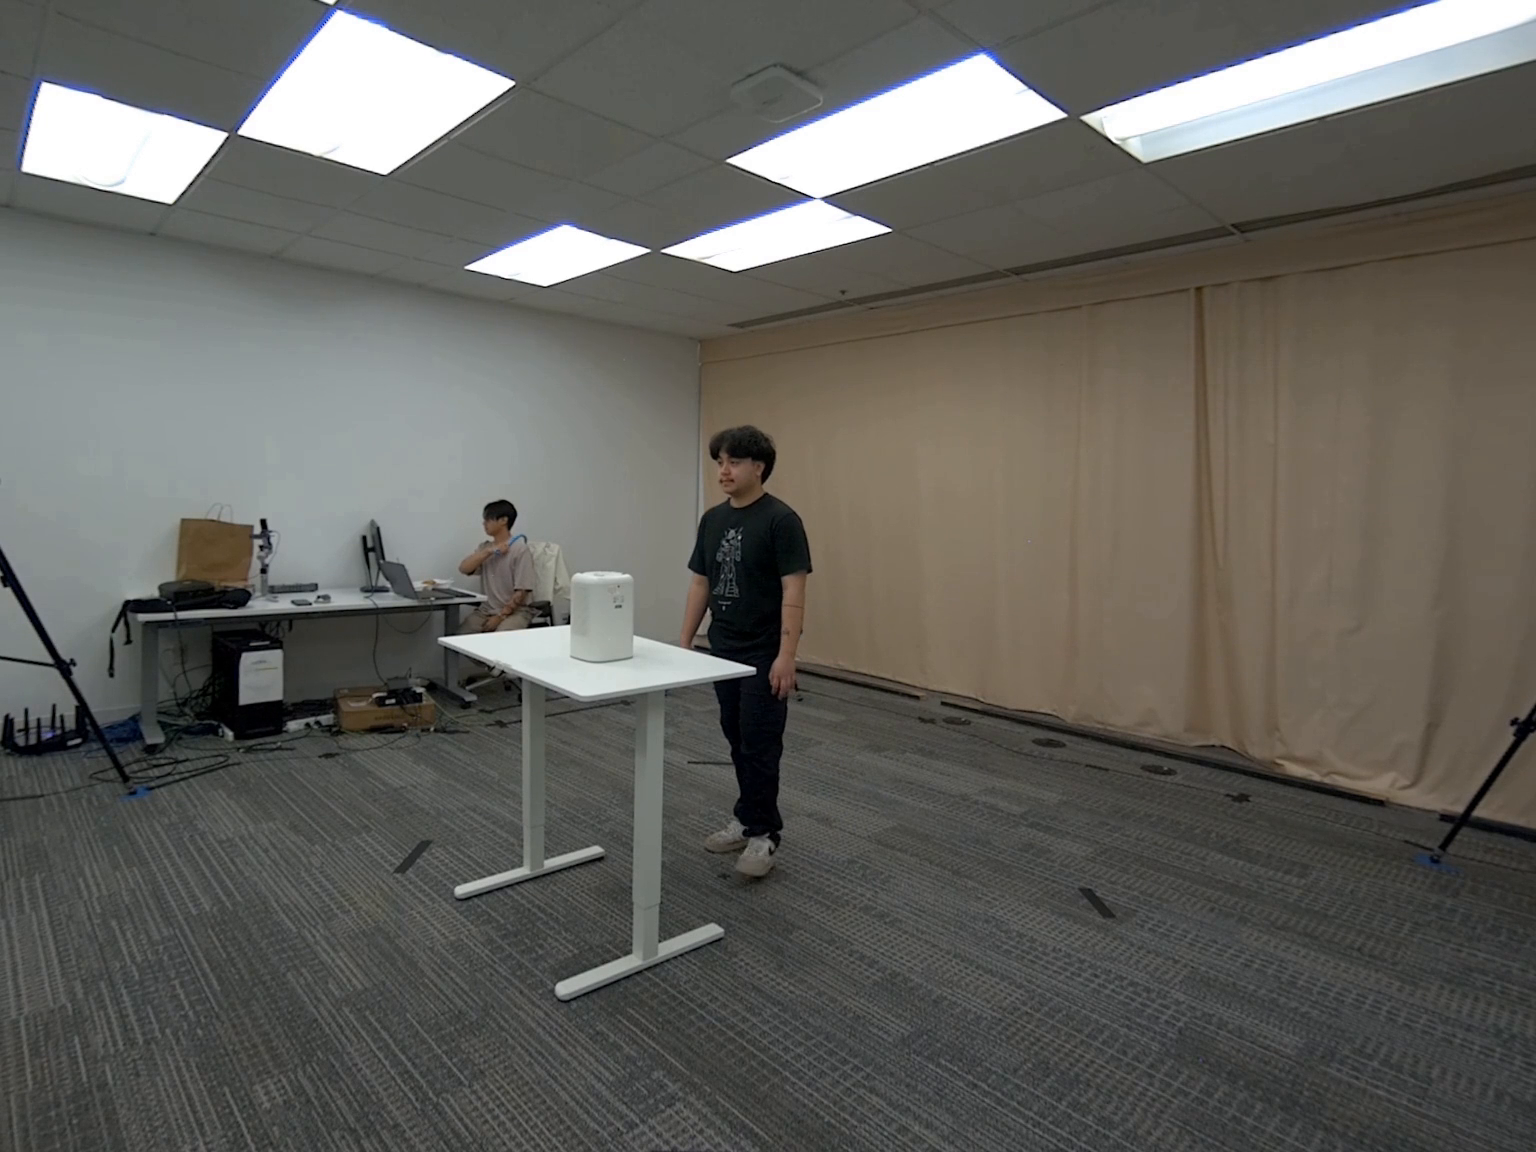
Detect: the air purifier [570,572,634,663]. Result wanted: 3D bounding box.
[{"bbox_3d":[-0.532,0.125,2.653,0.176,0.264,0.167,4,5,44],"label":"air purifier"}]
